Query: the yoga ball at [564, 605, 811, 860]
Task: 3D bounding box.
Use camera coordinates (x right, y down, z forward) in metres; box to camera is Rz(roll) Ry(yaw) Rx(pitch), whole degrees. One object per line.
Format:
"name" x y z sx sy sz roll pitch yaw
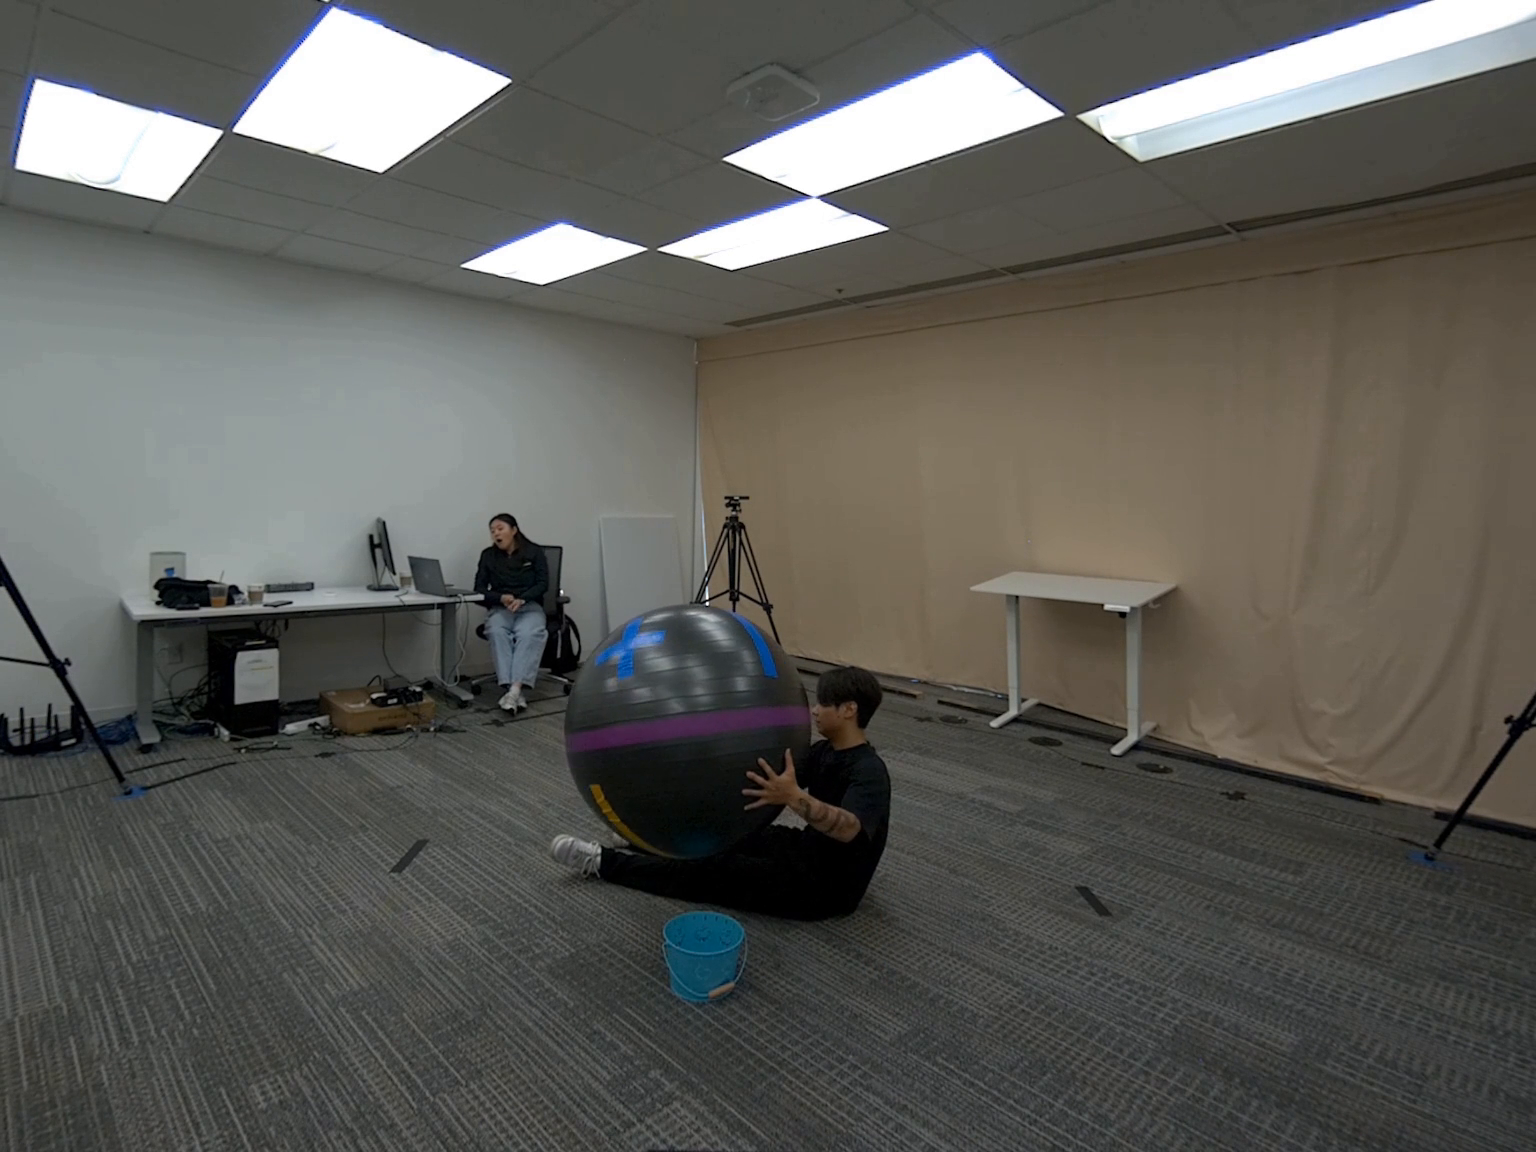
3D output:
"yoga ball" -0.254 0.482 2.615 0.757 0.756 0.761 1 4 -1
